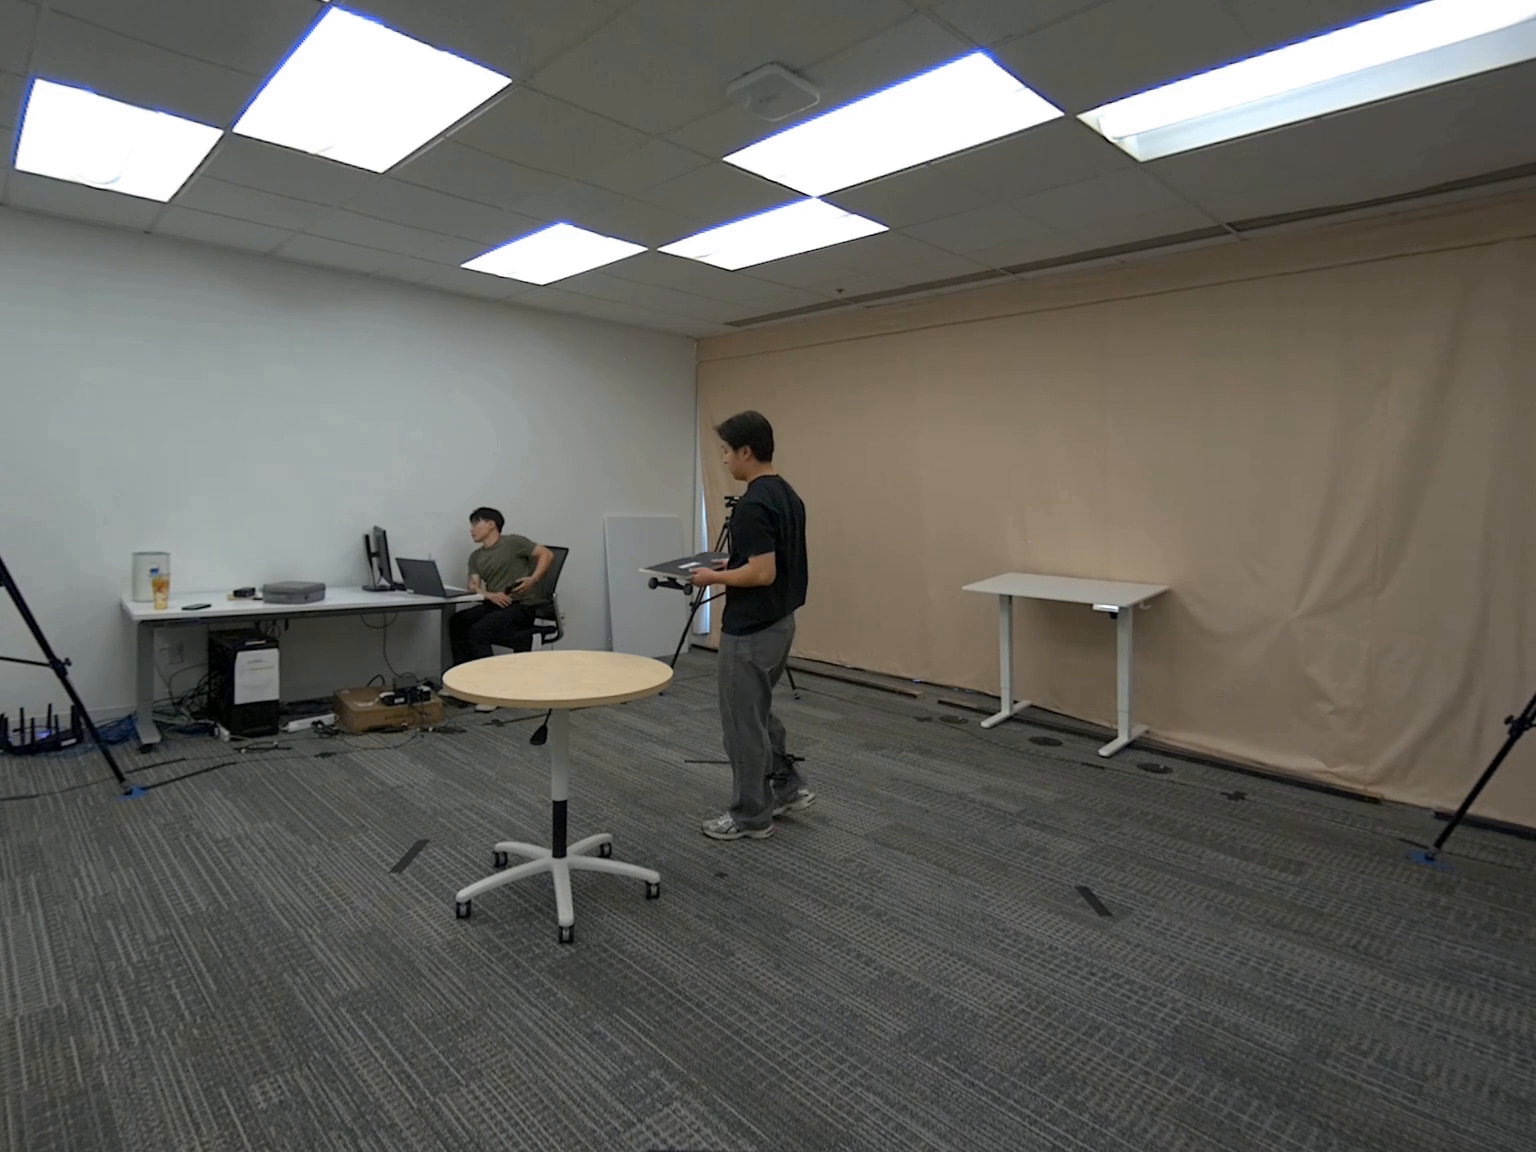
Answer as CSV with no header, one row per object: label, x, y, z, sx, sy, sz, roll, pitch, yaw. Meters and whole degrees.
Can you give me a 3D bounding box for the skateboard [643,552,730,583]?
skateboard,-0.336,-0.010,3.547,0.196,0.110,0.777,8,9,17
